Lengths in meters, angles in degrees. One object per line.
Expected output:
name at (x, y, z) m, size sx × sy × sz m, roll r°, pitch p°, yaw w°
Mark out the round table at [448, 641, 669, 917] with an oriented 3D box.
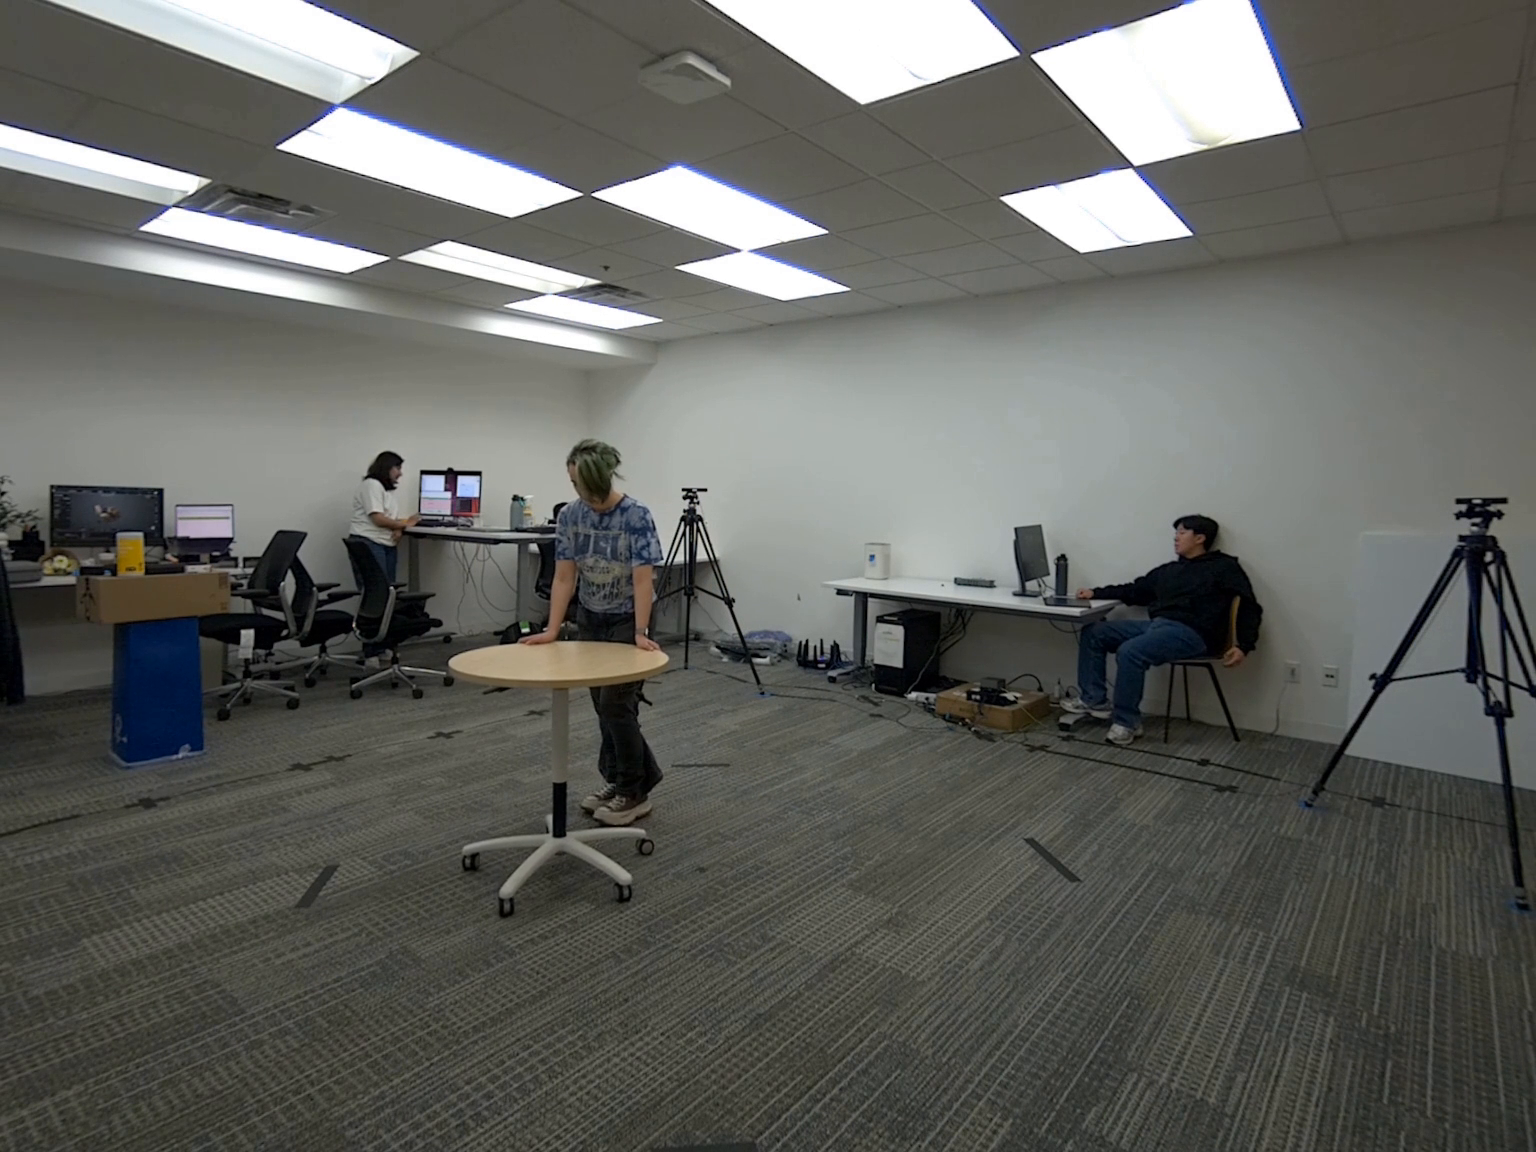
round table at (-0.757, 0.682, 3.035) m, size 0.763 × 0.792 × 0.767 m, roll 1°, pitch 3°, yaw -2°
